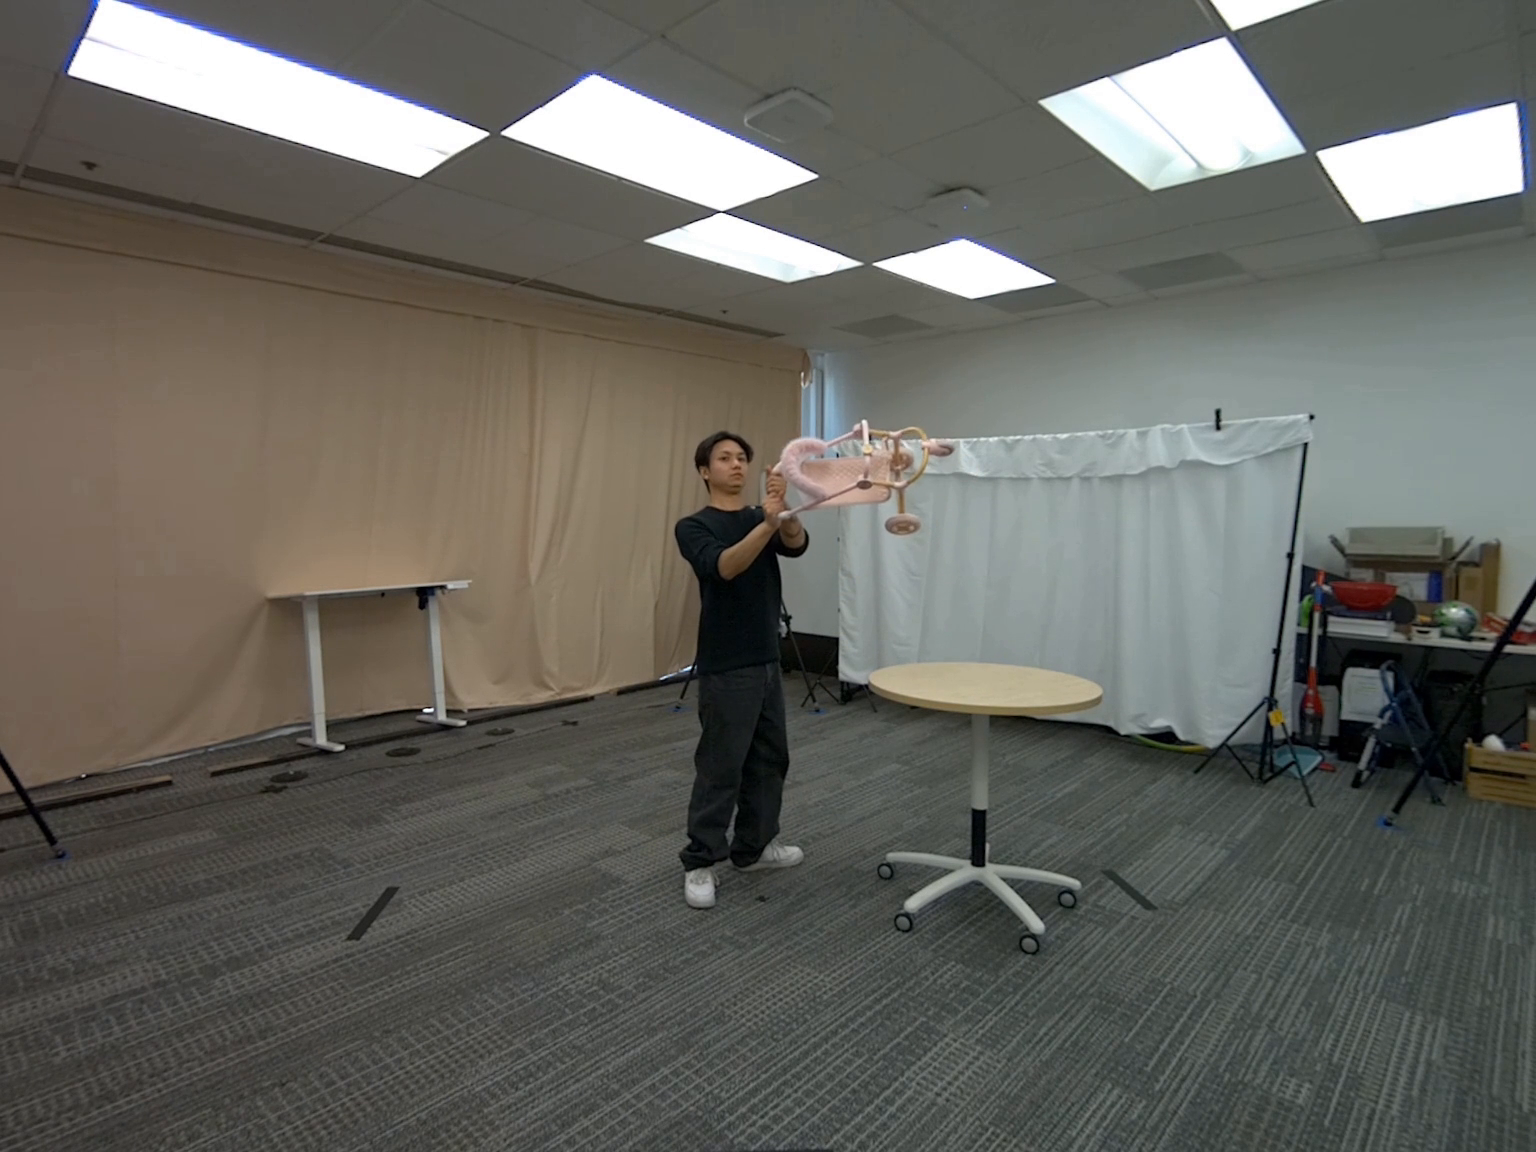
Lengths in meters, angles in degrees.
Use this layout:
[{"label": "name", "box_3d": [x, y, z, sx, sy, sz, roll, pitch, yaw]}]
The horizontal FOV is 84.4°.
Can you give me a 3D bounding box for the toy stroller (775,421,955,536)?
[{"label": "toy stroller", "box_3d": [0.281, -0.319, 2.586, 0.536, 0.285, 0.336, 3, -25, 1]}]
